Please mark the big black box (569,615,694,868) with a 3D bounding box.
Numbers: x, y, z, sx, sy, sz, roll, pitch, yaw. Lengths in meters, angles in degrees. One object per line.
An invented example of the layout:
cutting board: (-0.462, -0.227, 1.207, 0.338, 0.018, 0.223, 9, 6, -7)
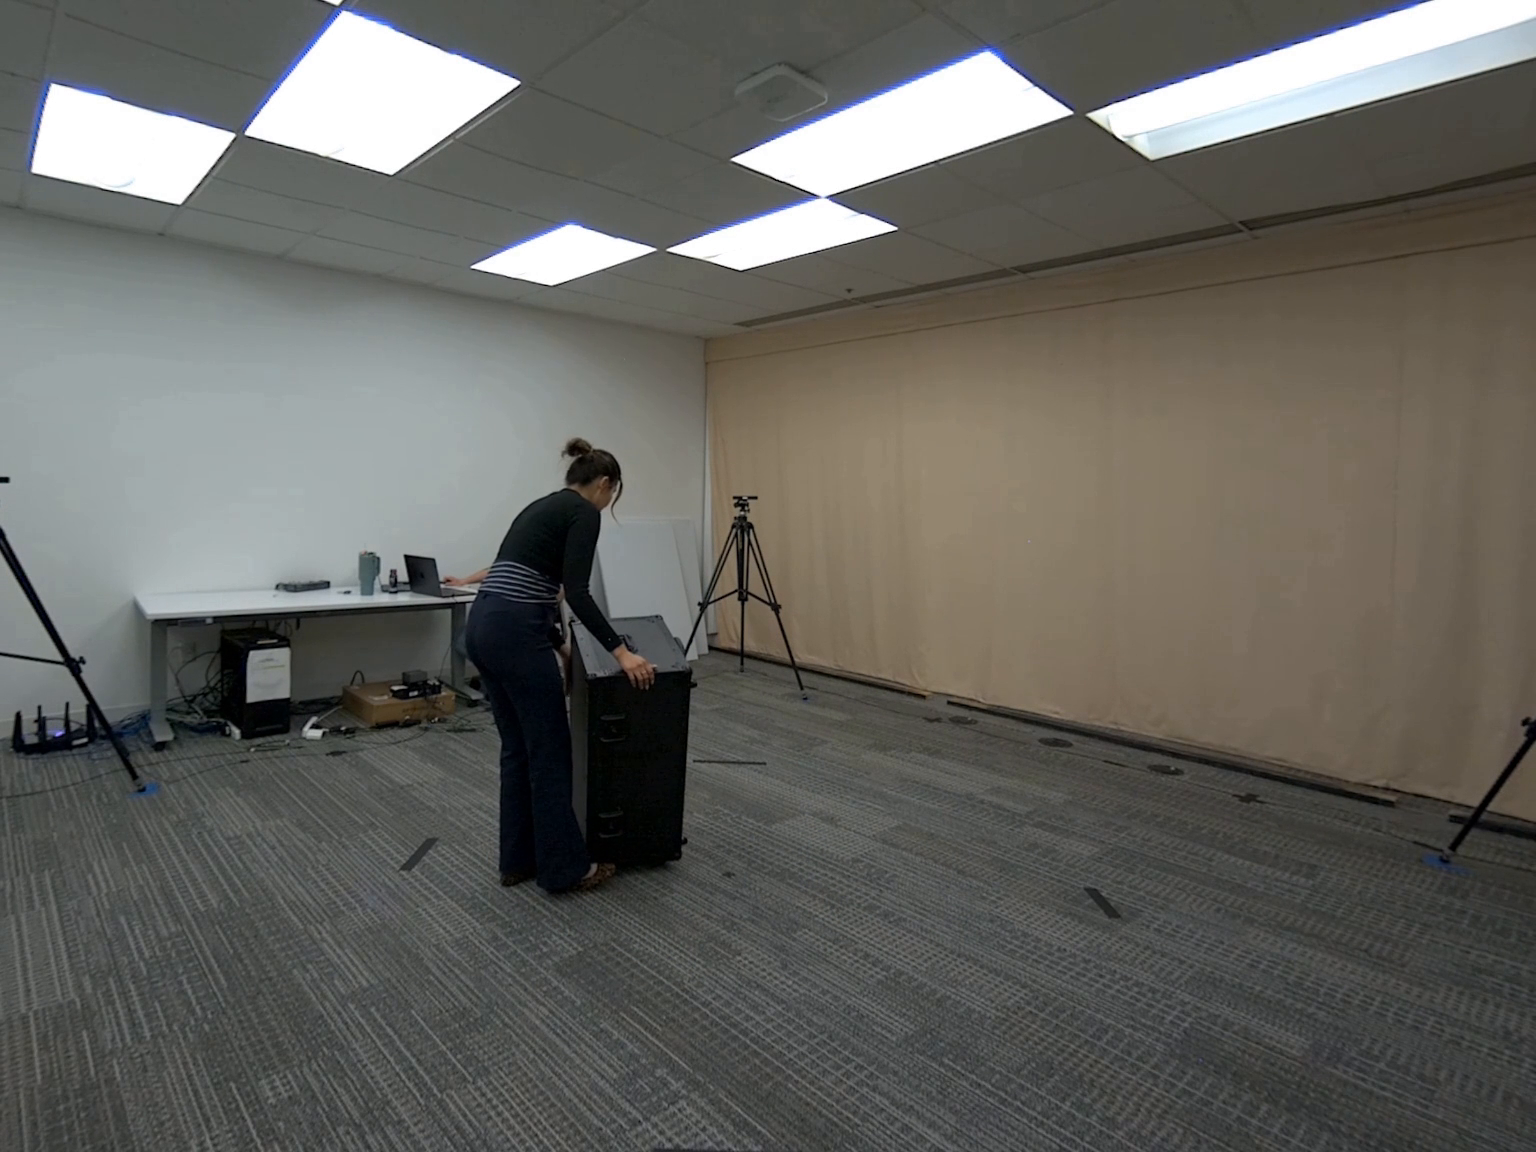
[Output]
big black box: (-0.535, 0.639, 3.172, 0.391, 0.851, 0.535, -1, 19, -19)
